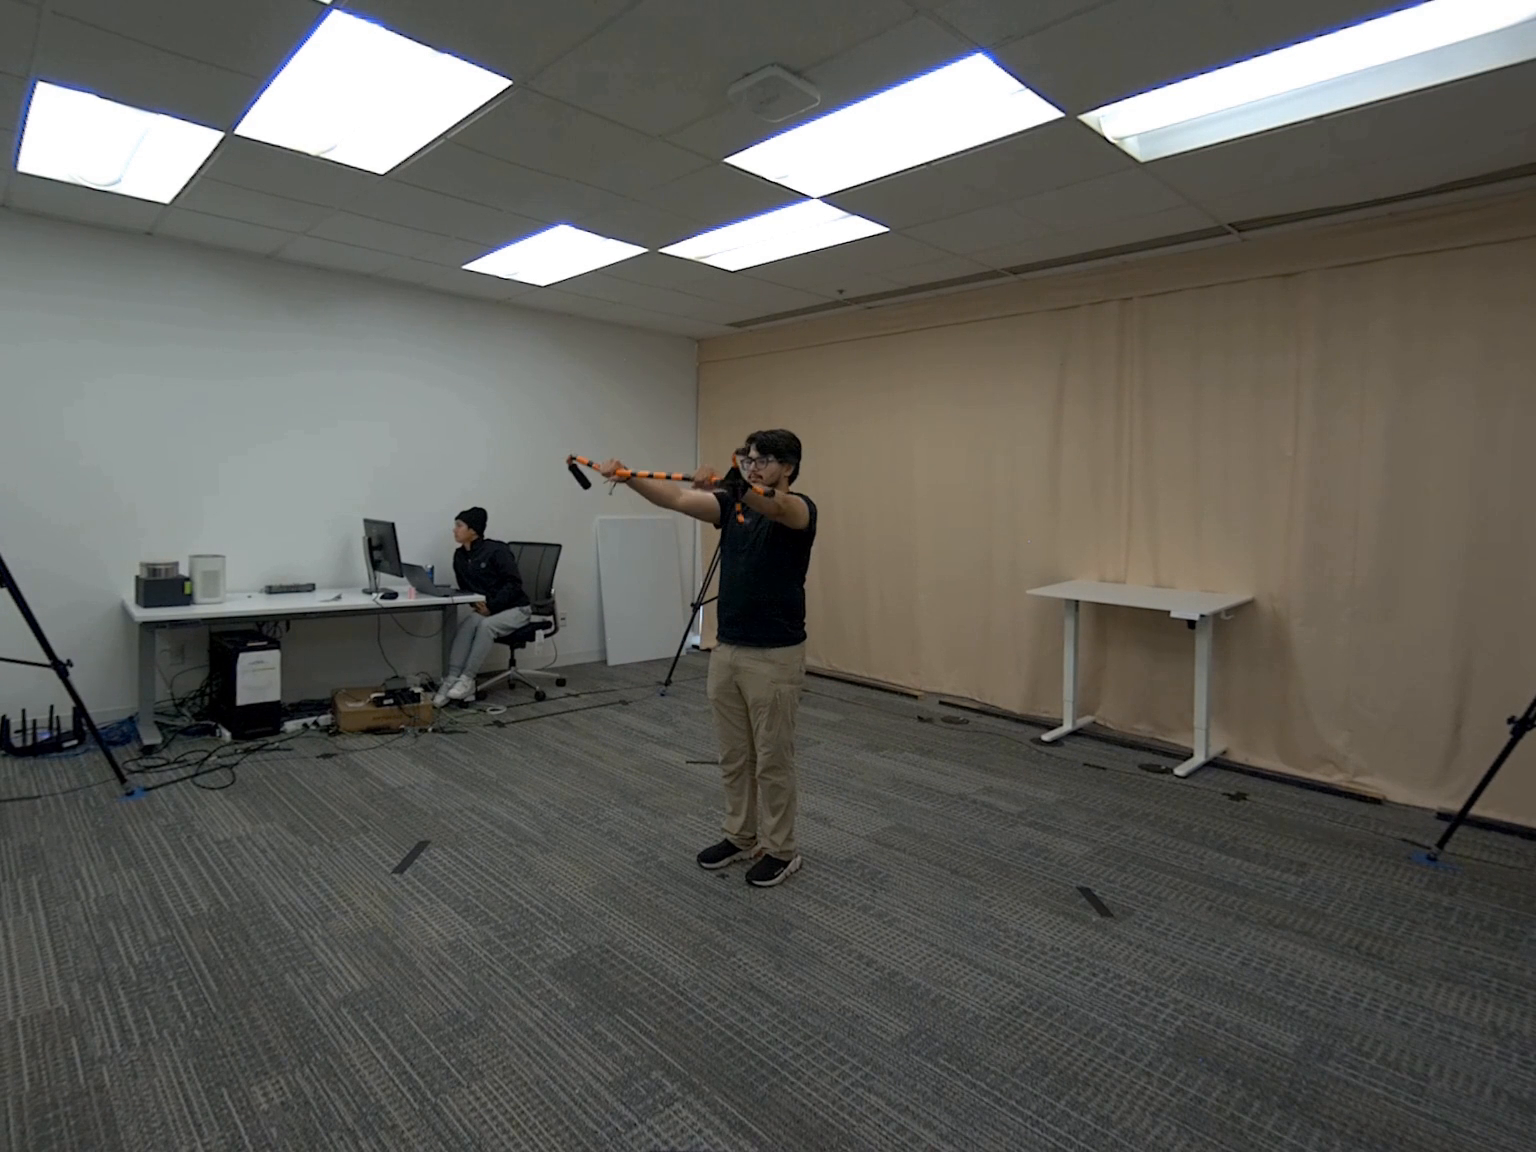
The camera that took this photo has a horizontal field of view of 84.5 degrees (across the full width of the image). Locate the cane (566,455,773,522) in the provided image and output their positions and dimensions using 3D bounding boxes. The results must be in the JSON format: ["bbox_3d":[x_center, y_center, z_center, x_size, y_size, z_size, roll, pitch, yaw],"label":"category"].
[{"bbox_3d":[-0.402,-0.314,2.772,0.933,0.152,0.200,11,-33,44],"label":"cane"}]
